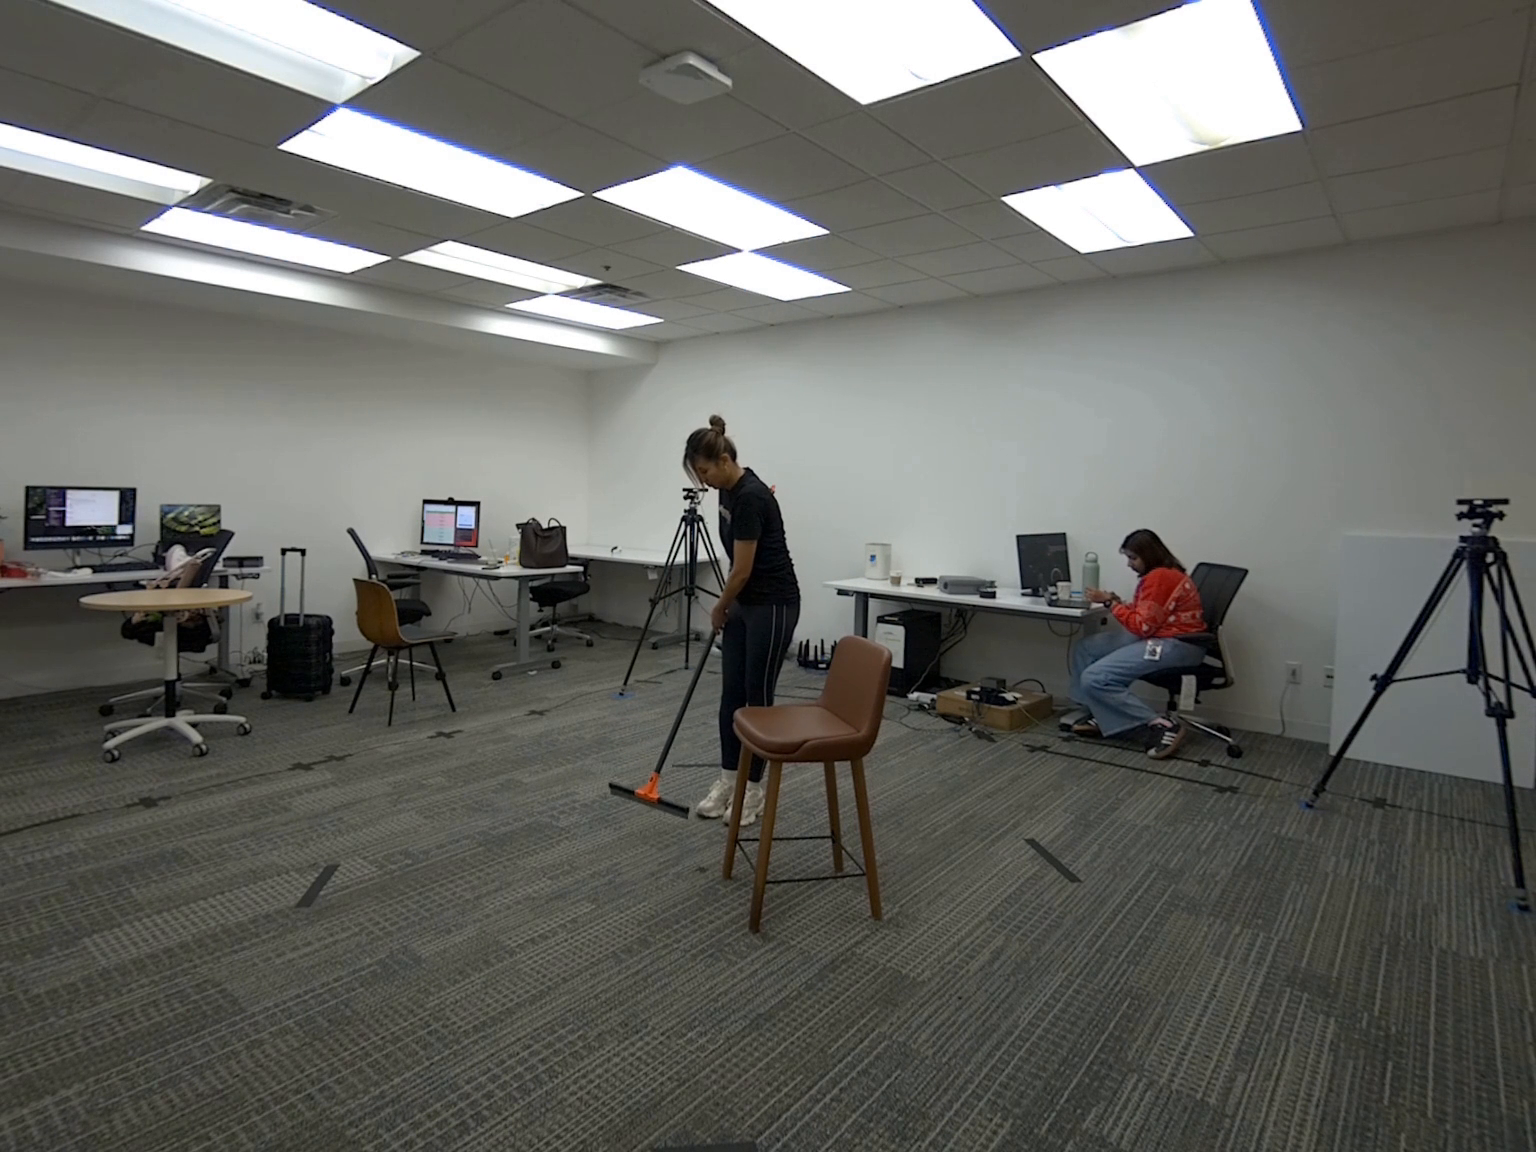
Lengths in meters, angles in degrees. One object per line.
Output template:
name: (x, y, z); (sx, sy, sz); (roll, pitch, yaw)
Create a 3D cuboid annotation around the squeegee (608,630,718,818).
squeegee: (-0.267, 0.247, 3.708); (0.451, 1.555, 0.051); (1, -32, 36)
